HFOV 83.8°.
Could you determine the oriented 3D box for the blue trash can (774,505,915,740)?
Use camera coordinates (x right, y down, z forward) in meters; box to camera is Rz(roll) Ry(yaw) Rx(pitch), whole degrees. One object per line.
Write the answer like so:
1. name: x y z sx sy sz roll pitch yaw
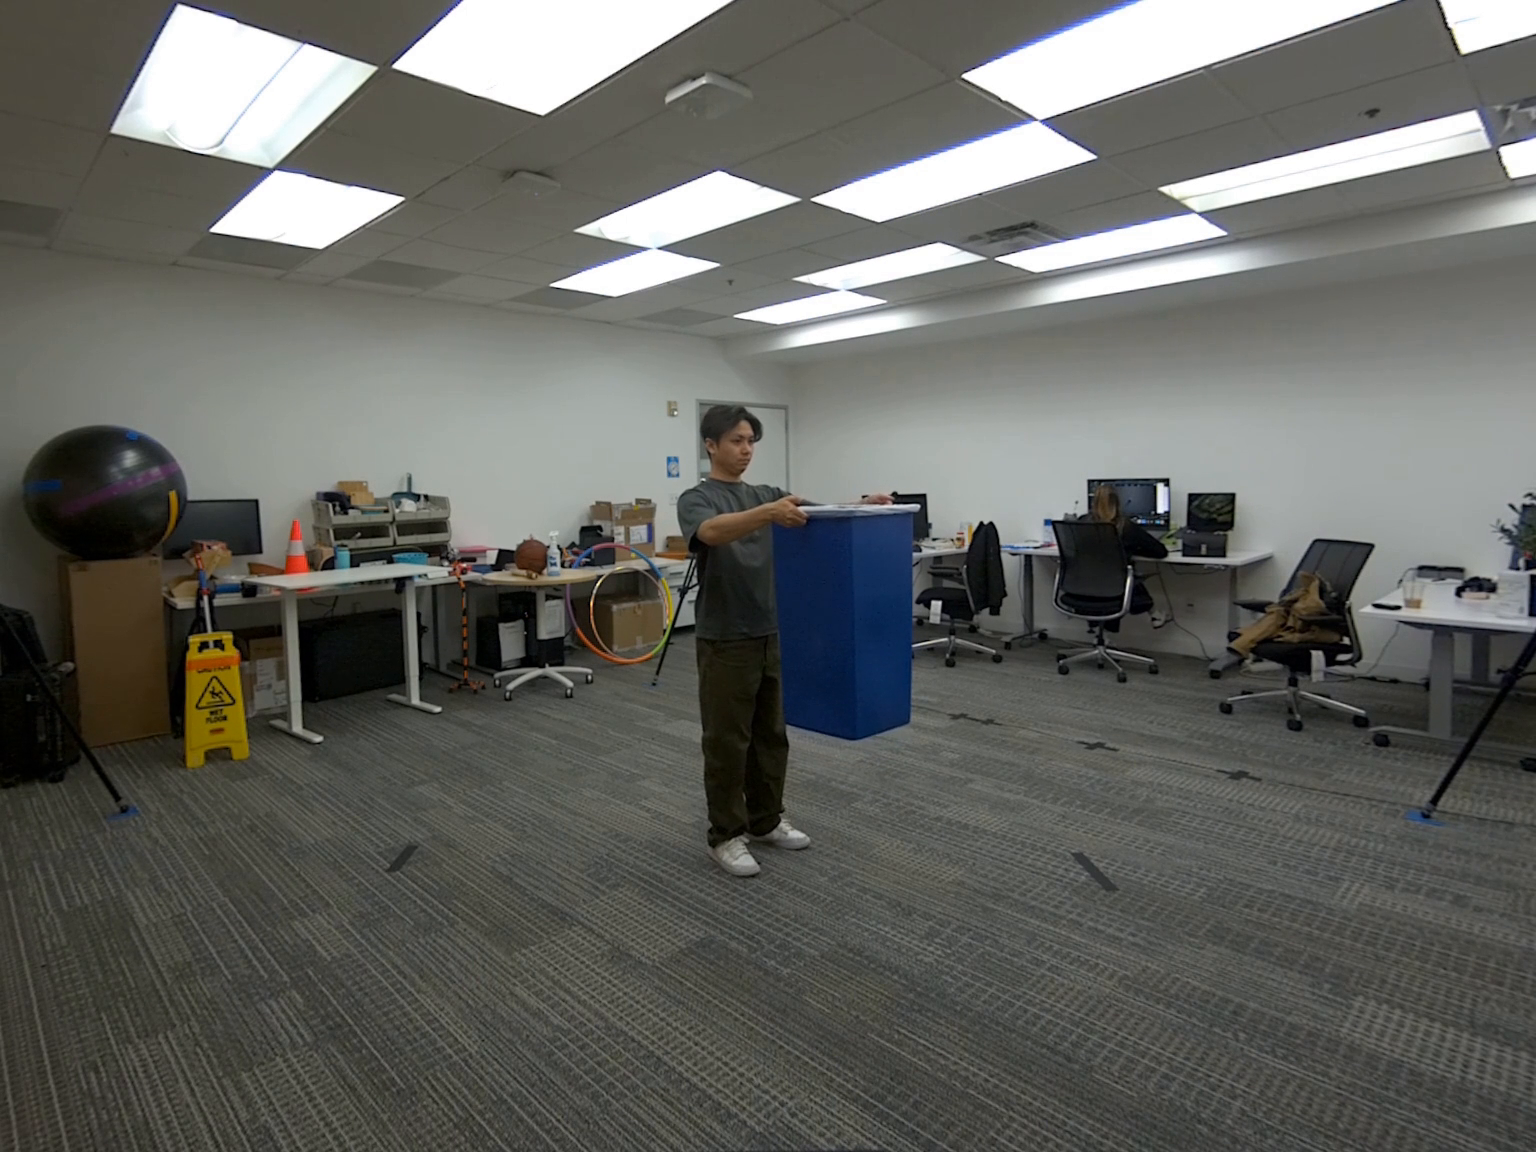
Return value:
1. blue trash can: 0.263 0.136 2.789 0.368 0.712 0.385 -5 3 -45
